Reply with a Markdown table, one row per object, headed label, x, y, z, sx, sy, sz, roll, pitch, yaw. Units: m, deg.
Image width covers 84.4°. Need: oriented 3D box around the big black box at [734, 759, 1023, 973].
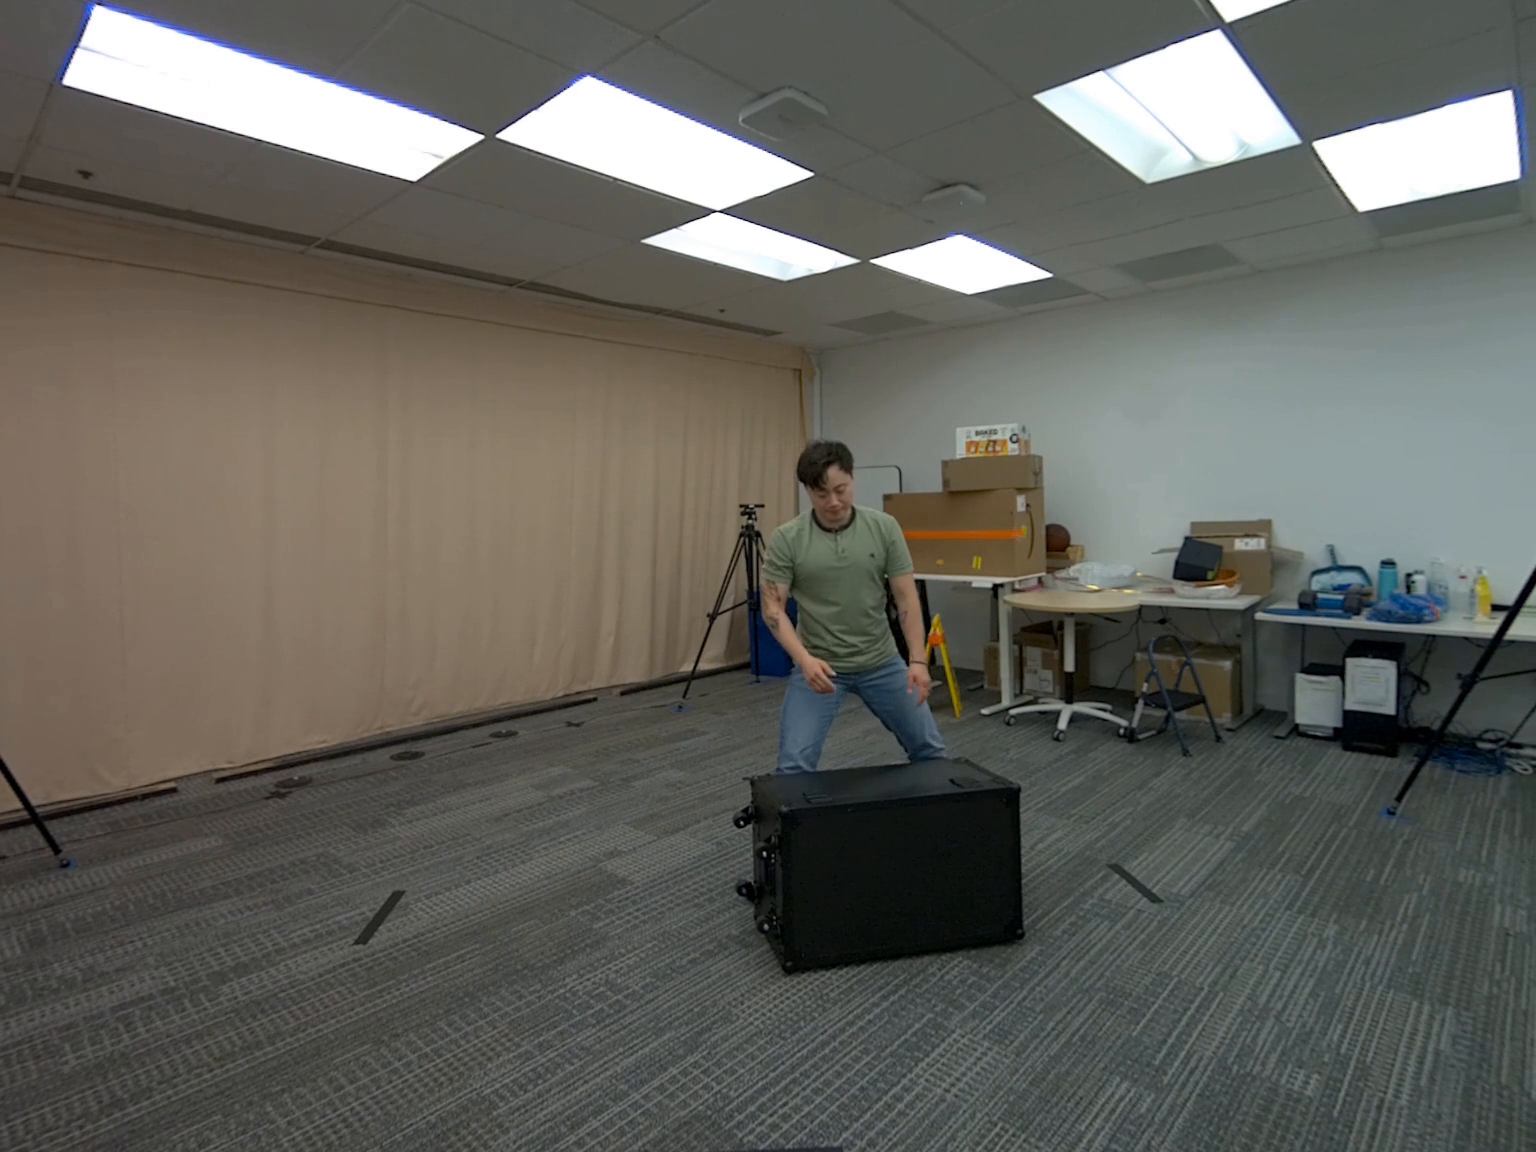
| label | x | y | z | sx | sy | sz | roll | pitch | yaw |
| --- | --- | --- | --- | --- | --- | --- | --- | --- | --- |
| big black box | 0.338 | 0.899 | 2.727 | 0.850 | 0.521 | 0.402 | -2 | 2 | -13 |
